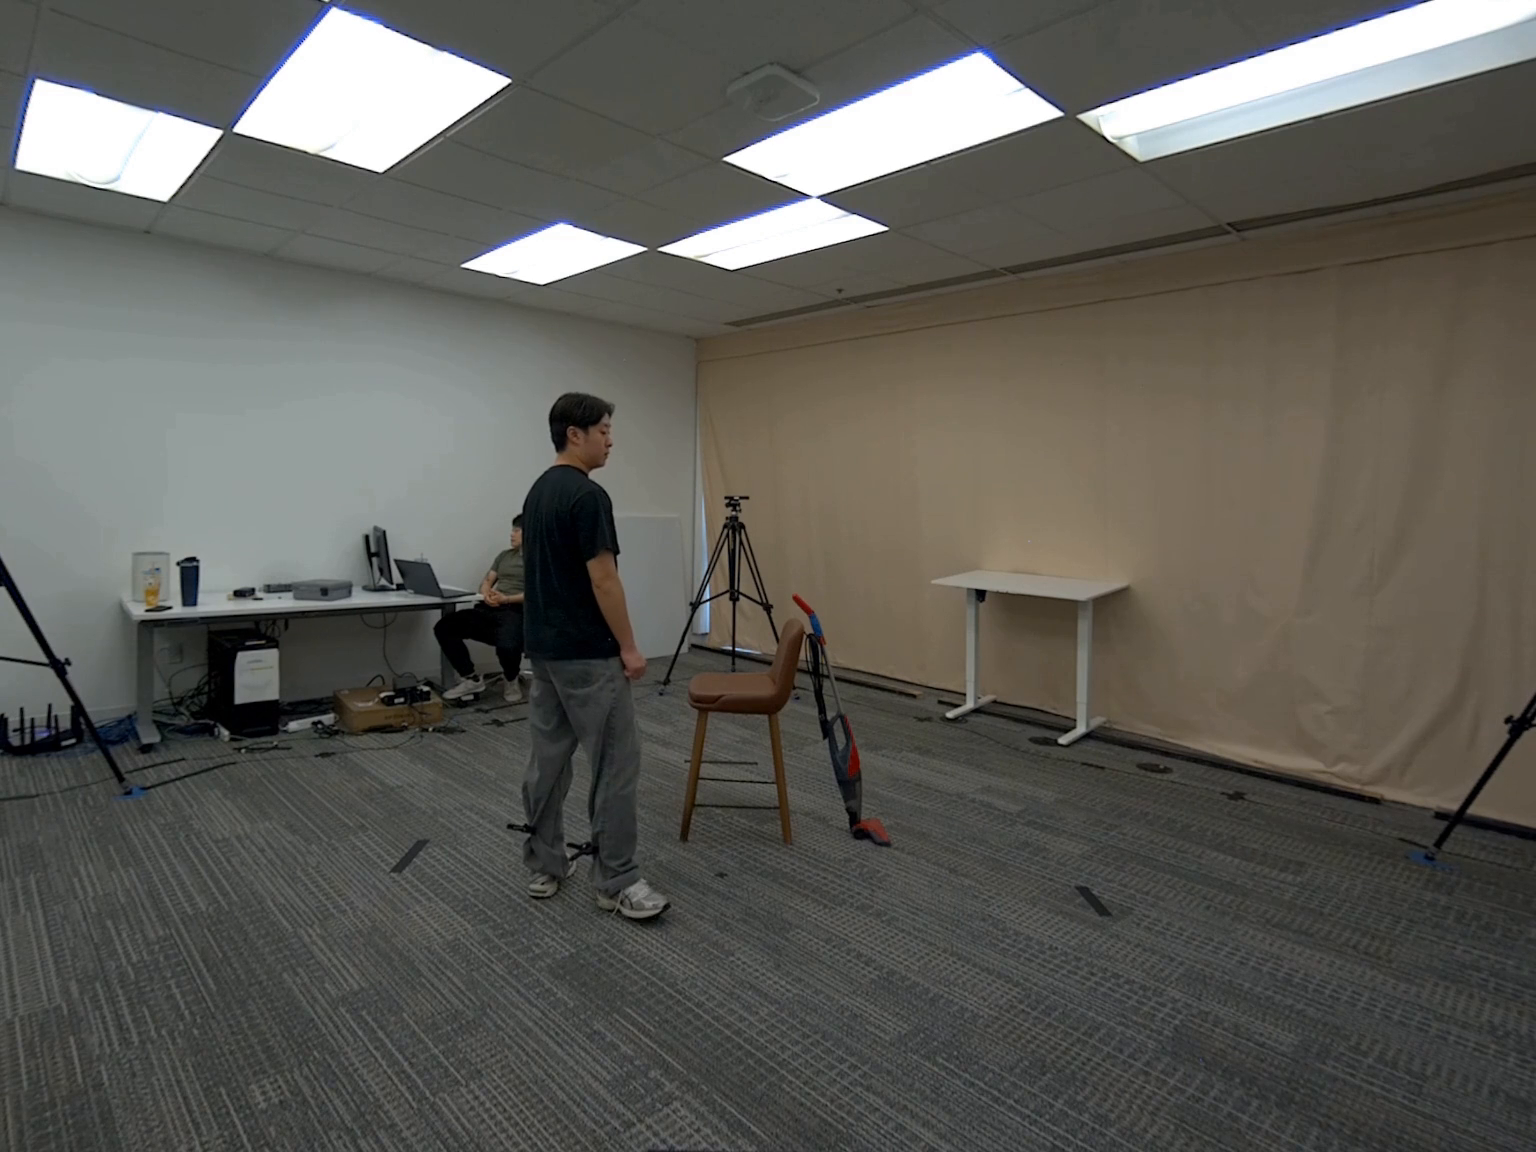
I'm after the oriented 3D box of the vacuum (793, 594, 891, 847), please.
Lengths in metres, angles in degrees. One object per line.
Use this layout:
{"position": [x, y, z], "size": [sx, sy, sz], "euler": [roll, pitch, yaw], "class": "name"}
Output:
{"position": [0.269, 0.578, 3.492], "size": [0.143, 1.045, 0.255], "euler": [-16, 5, -11], "class": "vacuum"}
